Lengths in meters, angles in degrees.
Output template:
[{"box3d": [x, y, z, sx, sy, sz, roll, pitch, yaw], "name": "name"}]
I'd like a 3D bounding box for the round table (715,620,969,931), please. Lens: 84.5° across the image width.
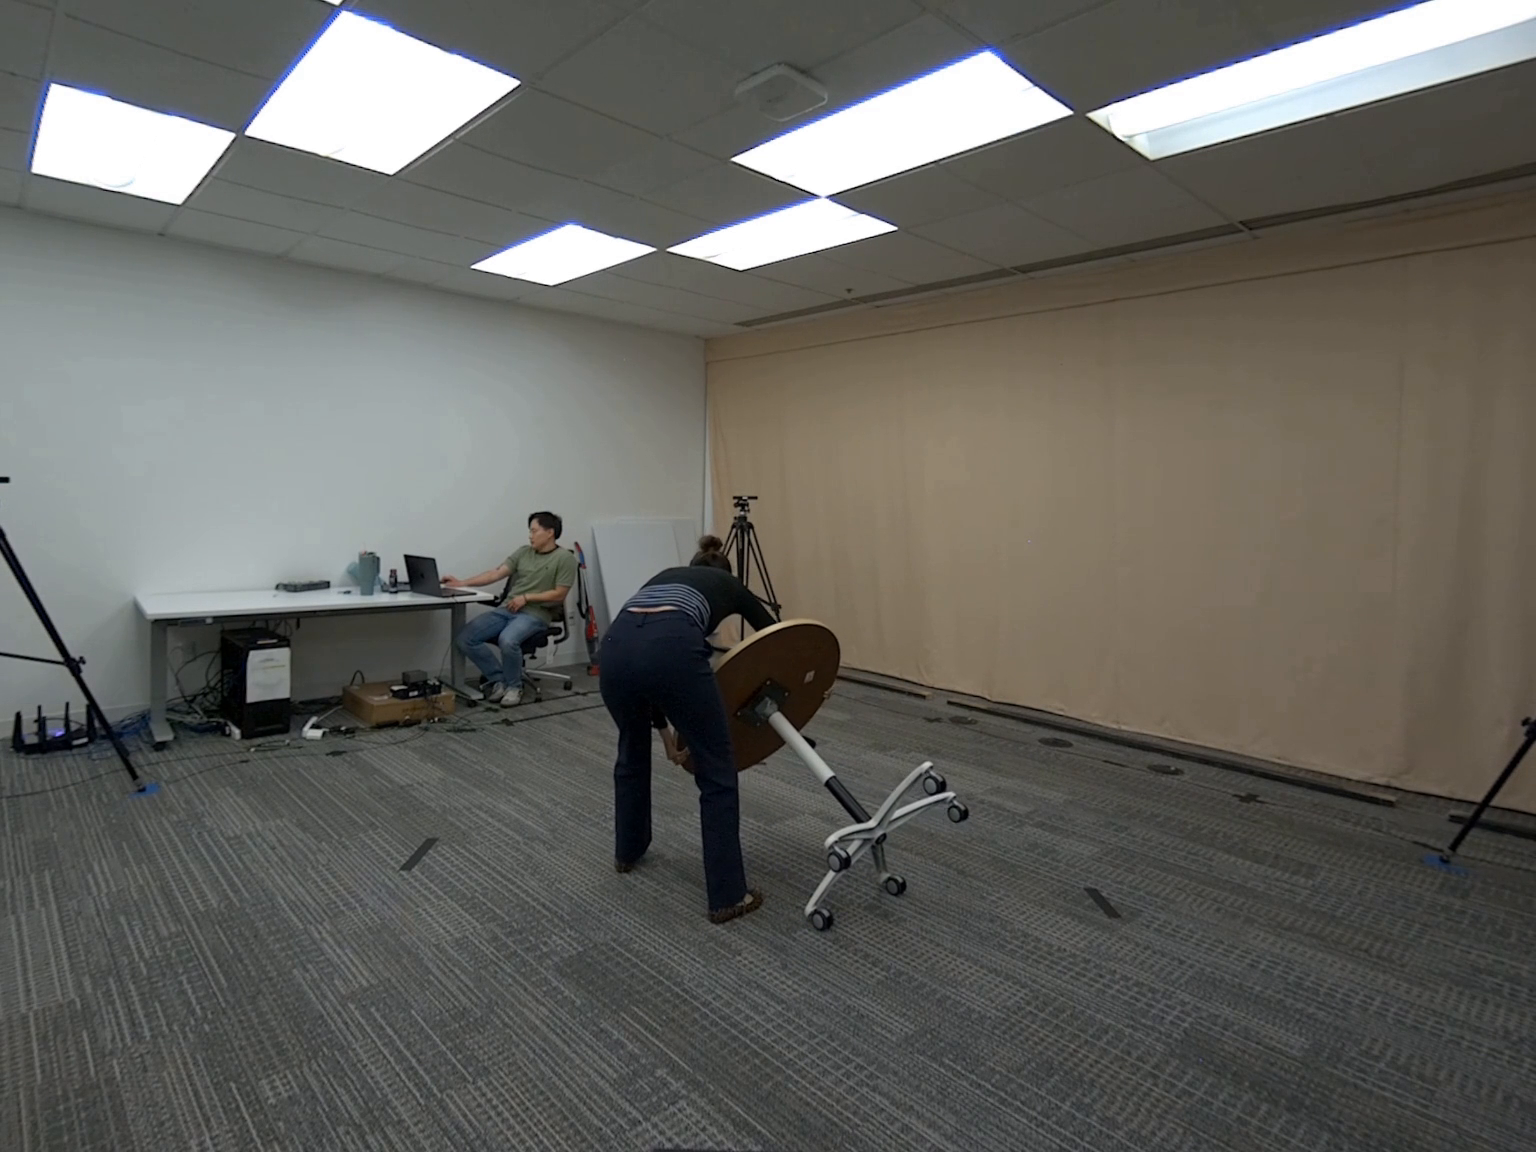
[{"box3d": [0.188, 0.699, 2.981, 0.746, 0.757, 0.819, -2, 35, -41], "name": "round table"}]
